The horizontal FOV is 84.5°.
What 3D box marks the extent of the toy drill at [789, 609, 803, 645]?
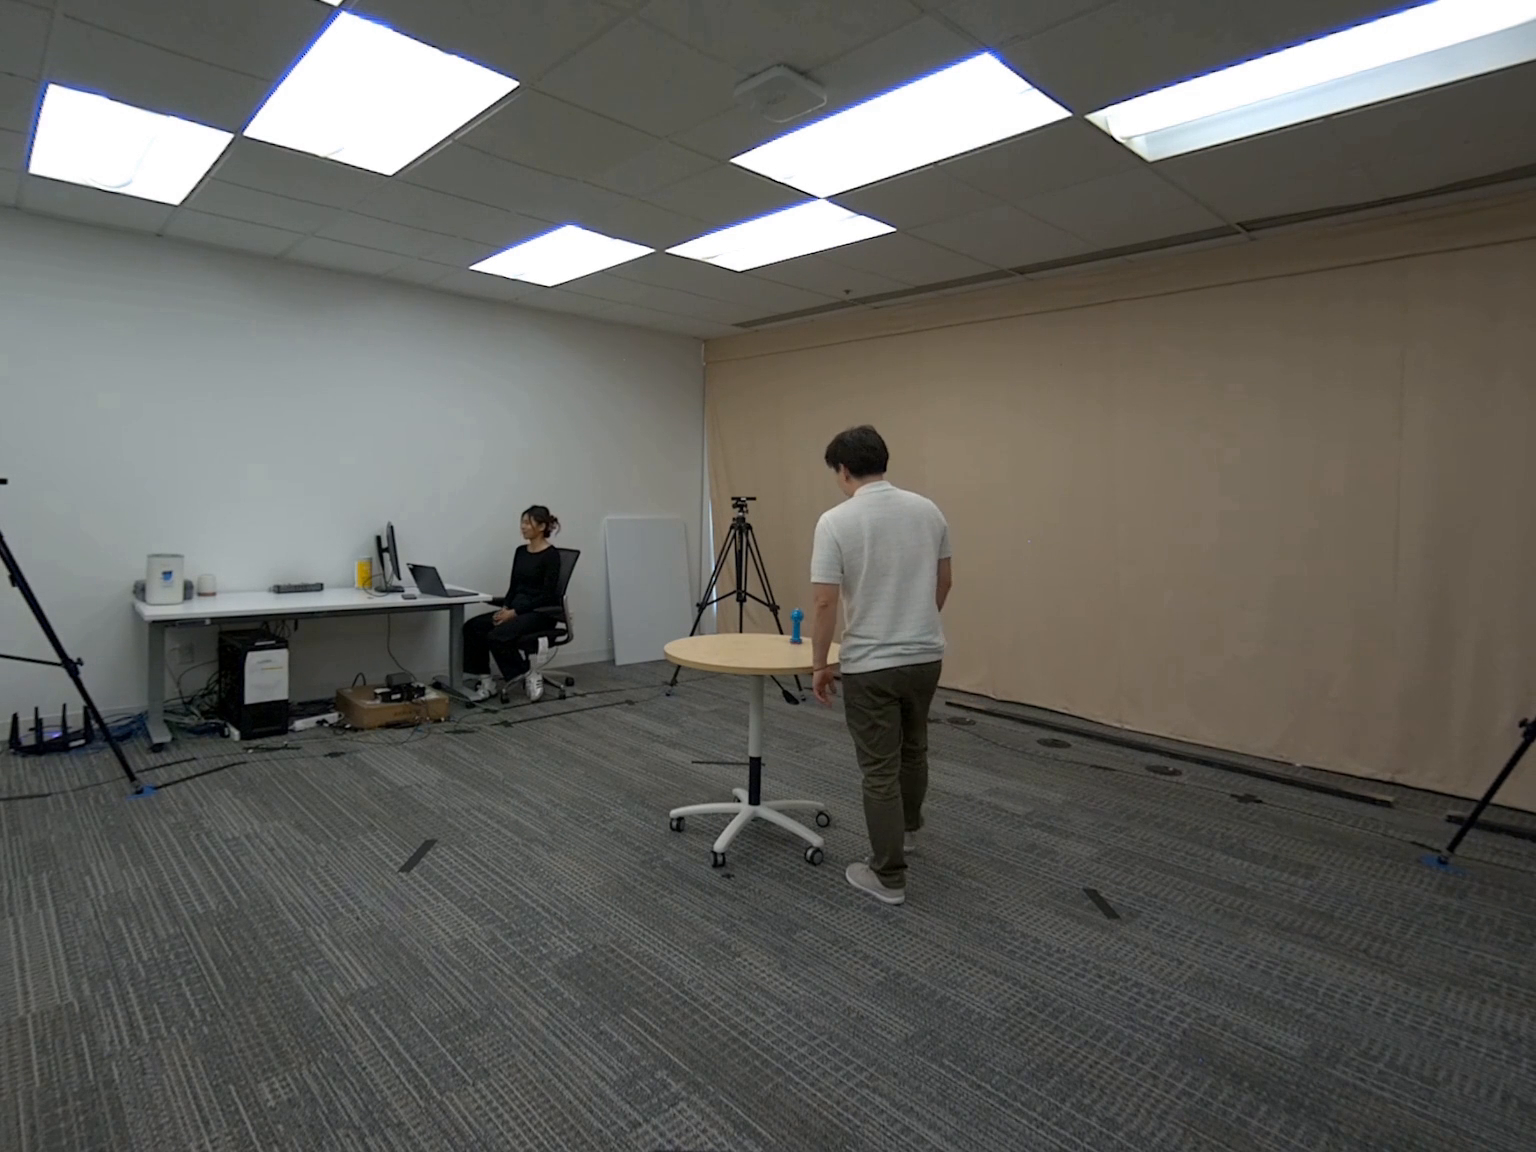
[{"bbox_3d":[0.111,0.209,3.626,0.061,0.146,0.170,0,3,1],"label":"toy drill"}]
